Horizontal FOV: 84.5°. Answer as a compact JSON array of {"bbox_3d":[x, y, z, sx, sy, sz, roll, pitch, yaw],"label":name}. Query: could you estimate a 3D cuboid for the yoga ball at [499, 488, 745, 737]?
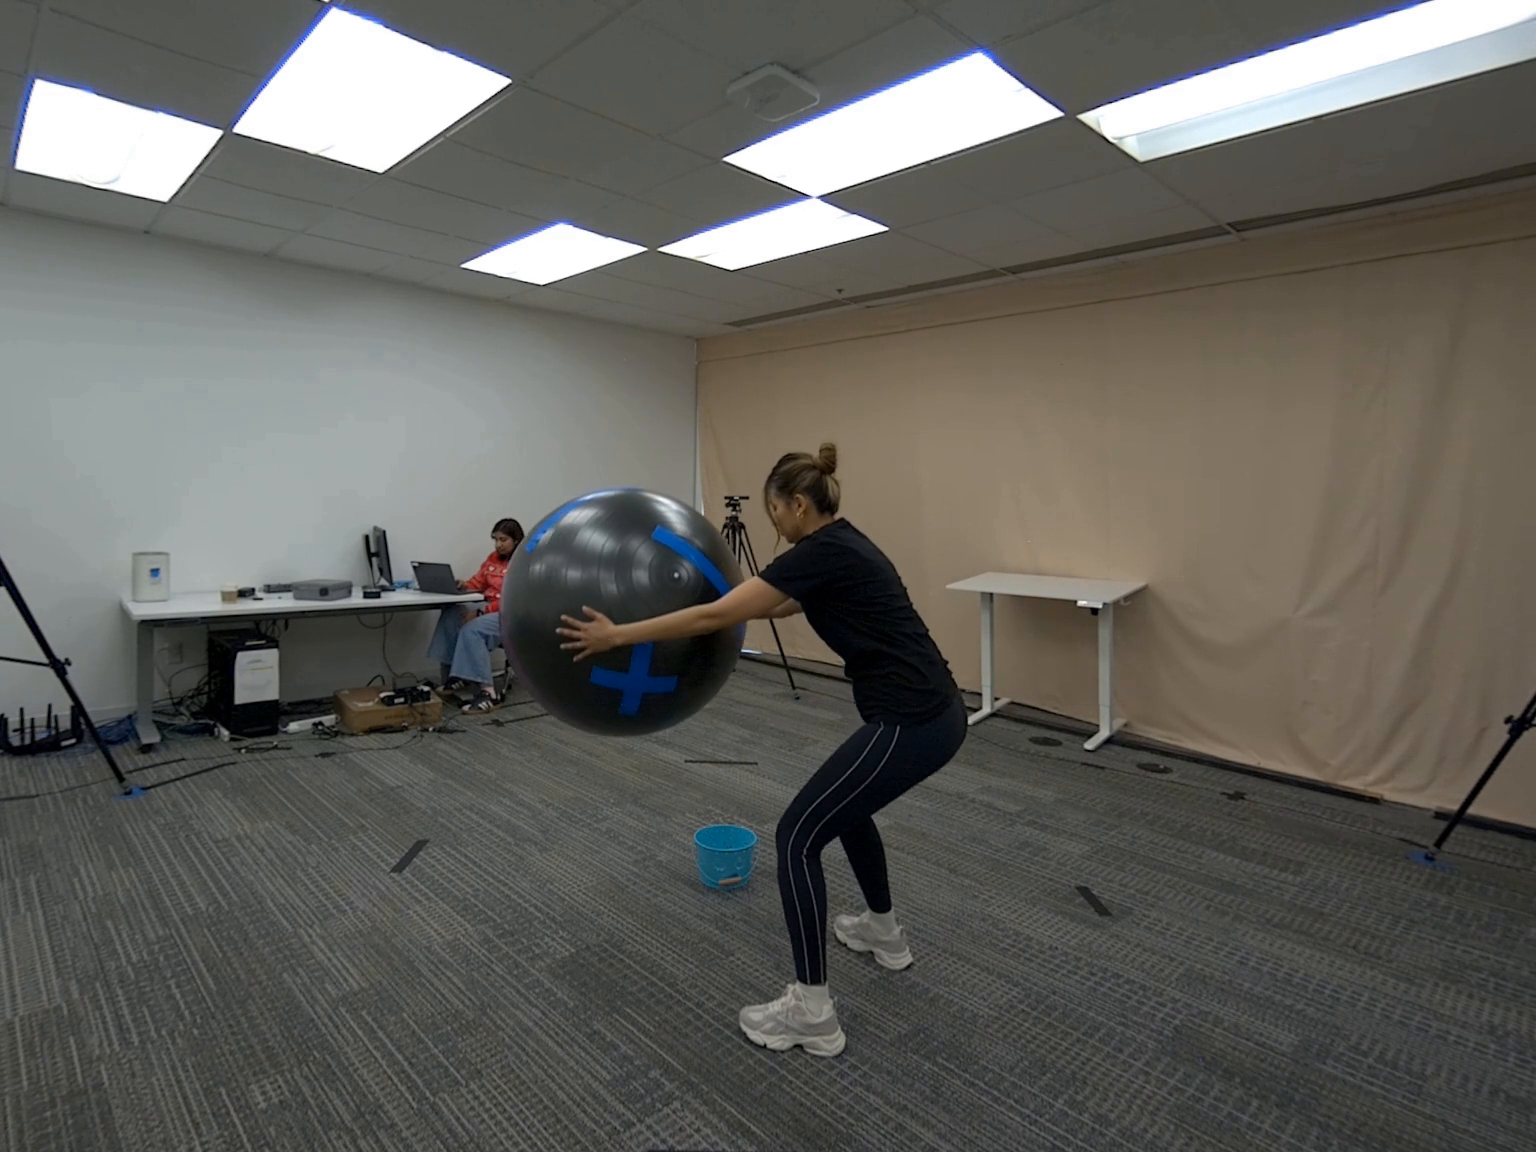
[{"bbox_3d":[-0.444,0.120,2.590,0.757,0.756,0.761,1,4,-1],"label":"yoga ball"}]
